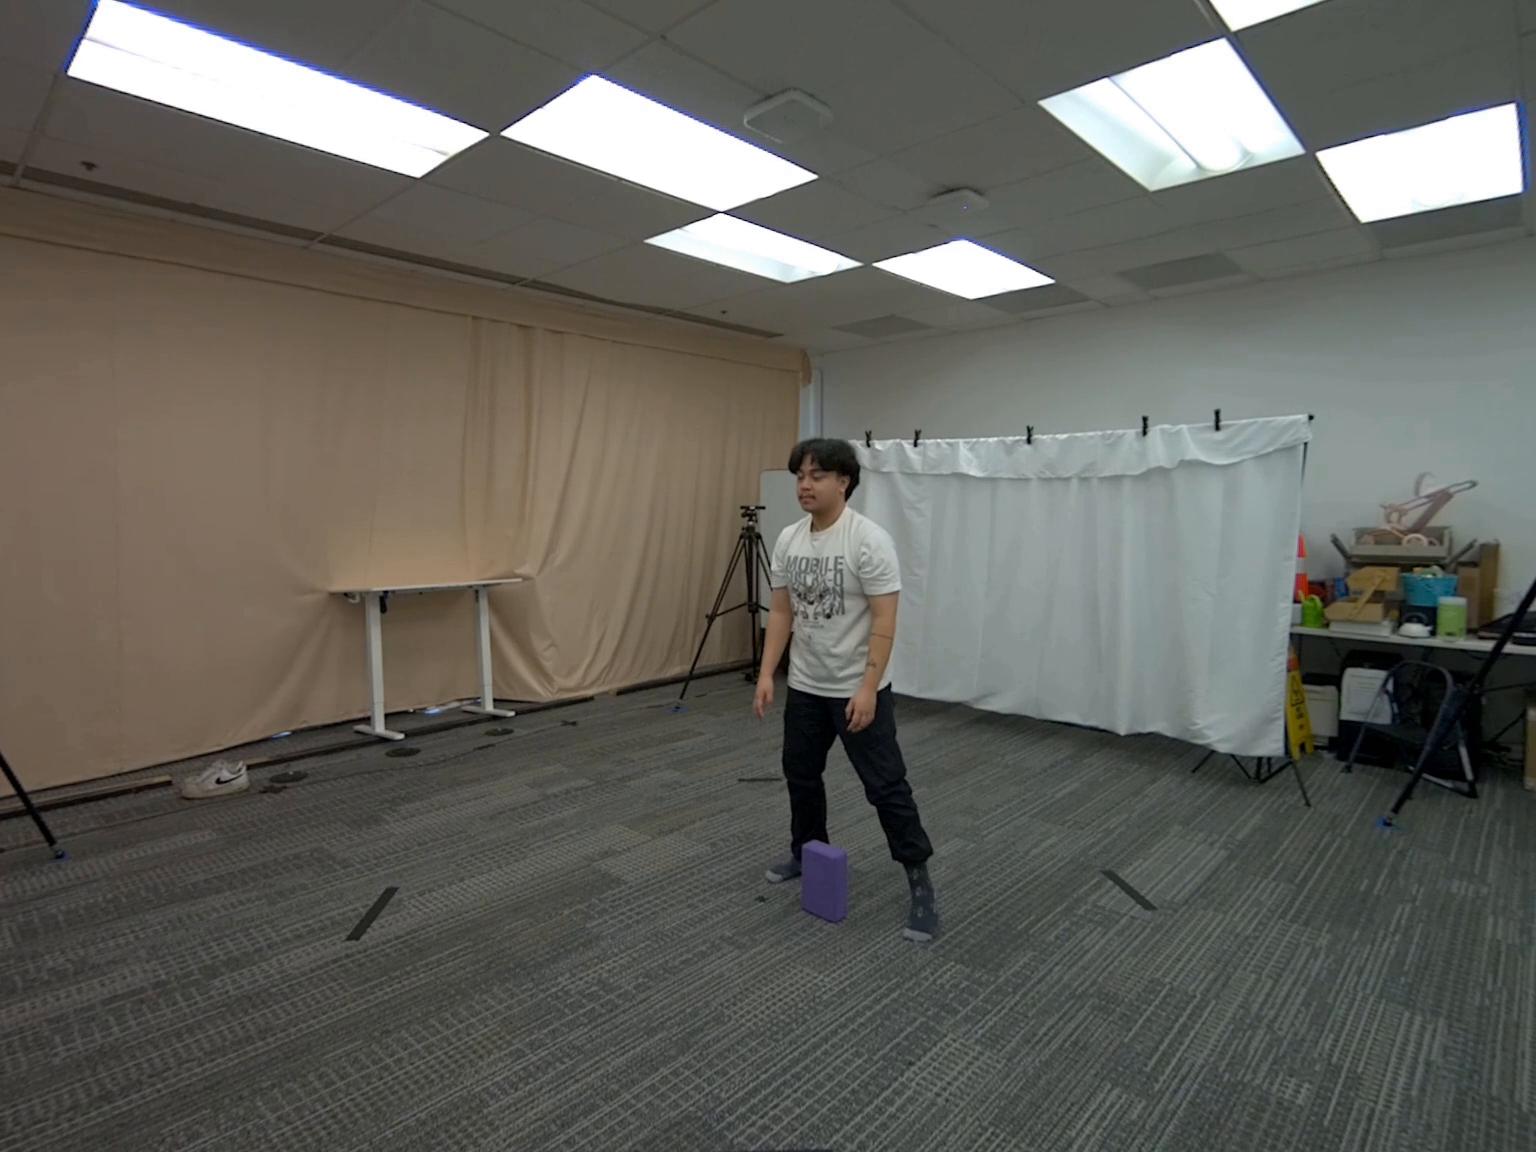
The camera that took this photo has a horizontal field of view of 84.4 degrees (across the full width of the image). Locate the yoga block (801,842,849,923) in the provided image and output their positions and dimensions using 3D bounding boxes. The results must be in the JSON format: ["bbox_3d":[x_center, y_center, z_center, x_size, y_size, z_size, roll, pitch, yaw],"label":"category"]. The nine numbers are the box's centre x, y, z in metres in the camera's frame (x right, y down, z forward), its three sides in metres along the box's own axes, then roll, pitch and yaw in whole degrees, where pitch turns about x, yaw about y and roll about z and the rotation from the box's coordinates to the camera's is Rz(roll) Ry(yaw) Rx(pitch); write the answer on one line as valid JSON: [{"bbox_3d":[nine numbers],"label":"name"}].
[{"bbox_3d":[0.195,1.037,2.879,0.154,0.228,0.074,5,7,41],"label":"yoga block"}]
